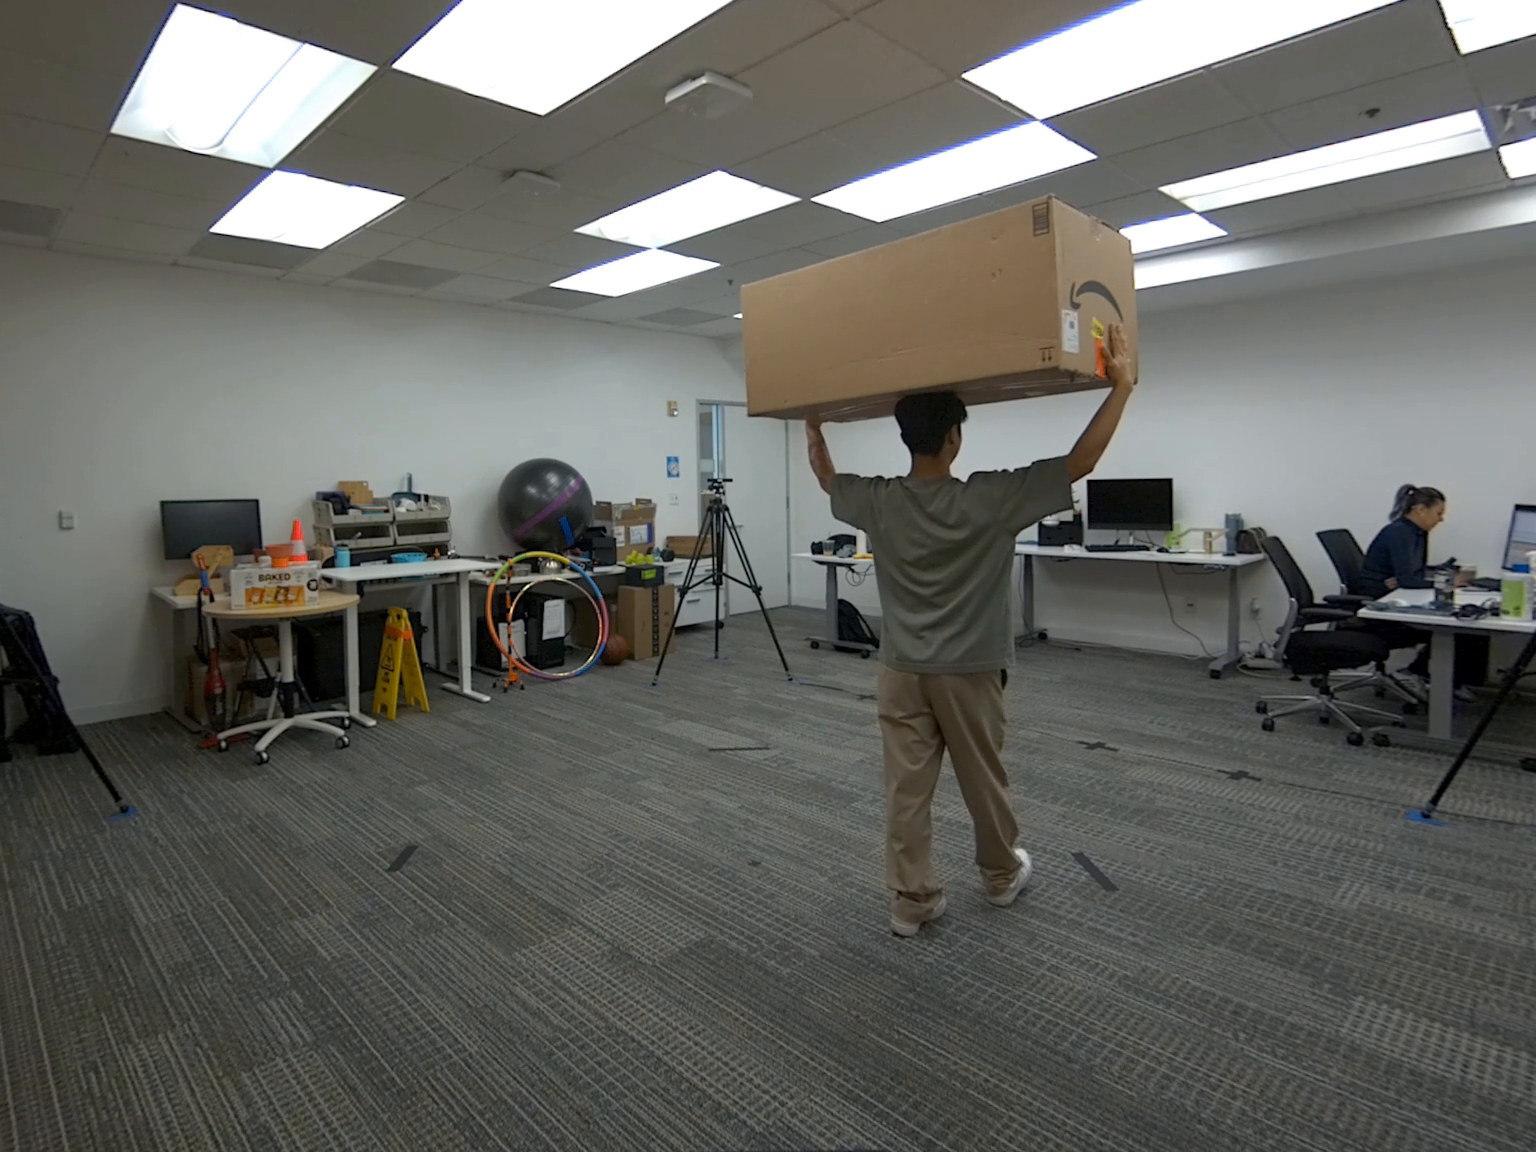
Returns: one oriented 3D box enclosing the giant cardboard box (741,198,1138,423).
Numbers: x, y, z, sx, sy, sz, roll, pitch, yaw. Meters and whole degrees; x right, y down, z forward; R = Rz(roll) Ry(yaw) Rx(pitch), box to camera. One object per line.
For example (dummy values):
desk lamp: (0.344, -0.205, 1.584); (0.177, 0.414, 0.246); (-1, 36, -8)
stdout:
giant cardboard box: (0.495, -0.743, 2.623); (1.055, 0.425, 0.563); (1, 5, 42)
